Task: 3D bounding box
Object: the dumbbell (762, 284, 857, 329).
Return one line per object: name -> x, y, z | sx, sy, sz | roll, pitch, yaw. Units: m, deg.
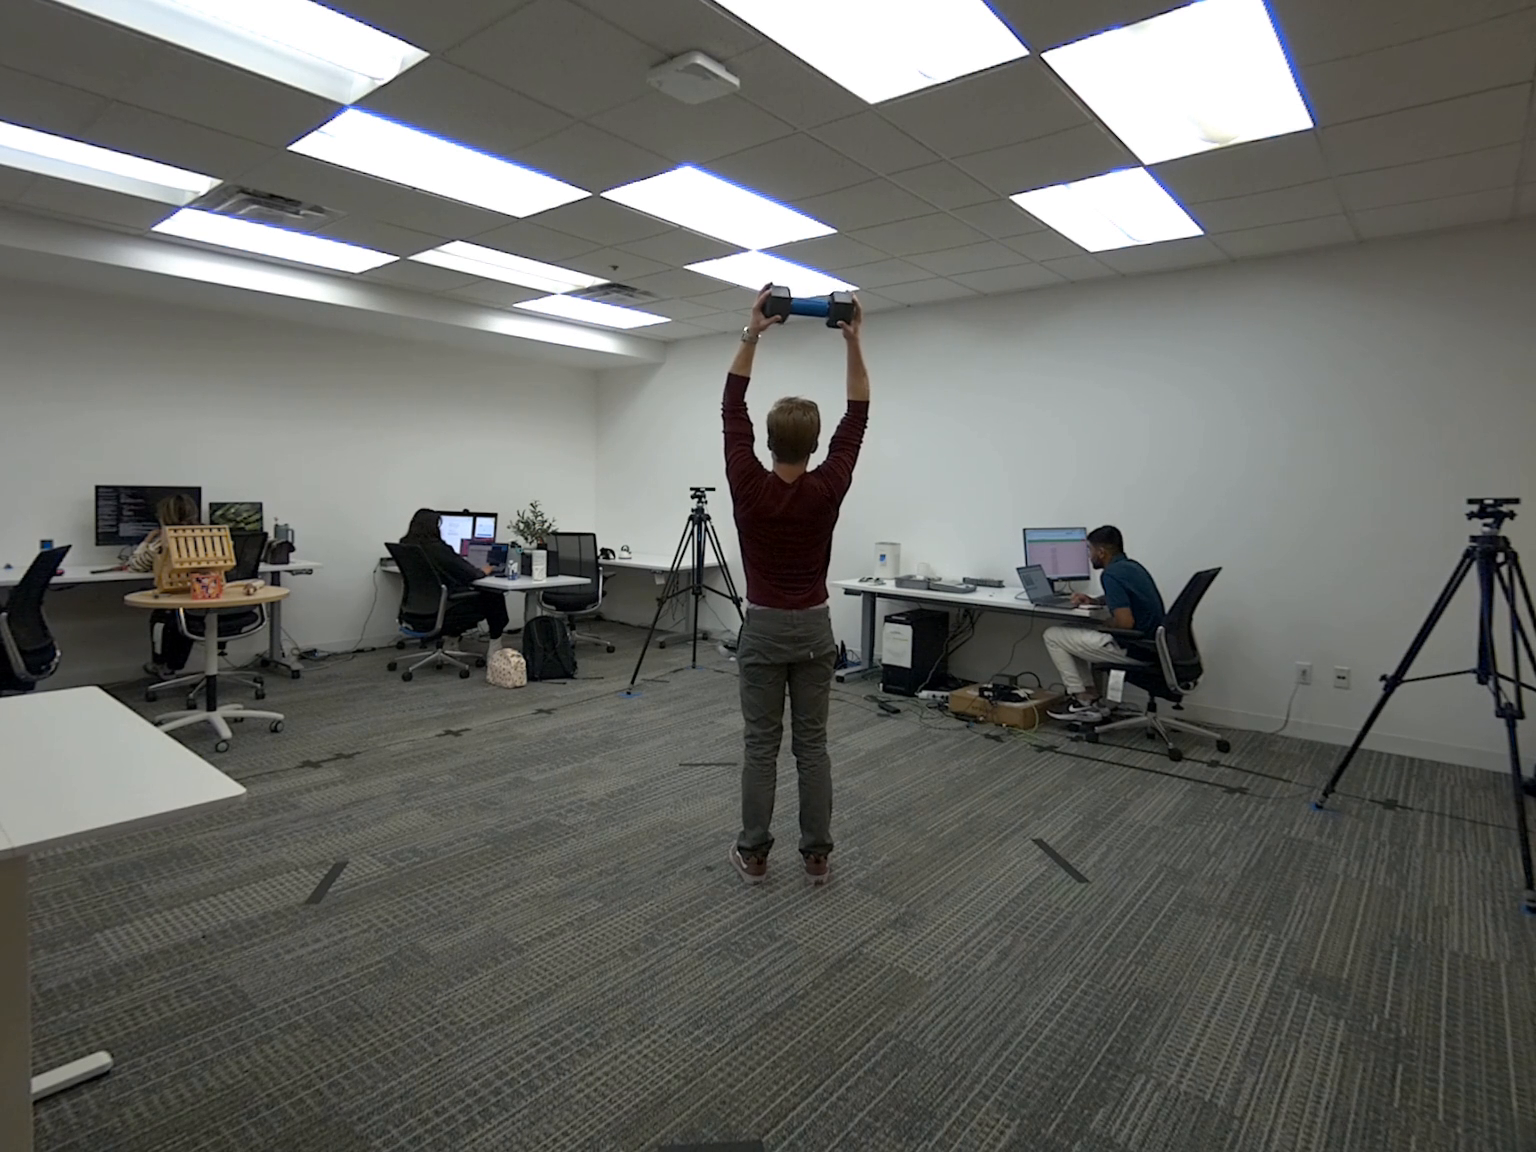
dumbbell -> 0.123, -0.889, 2.817 | 0.291, 0.109, 0.123 | 3, -7, -8
